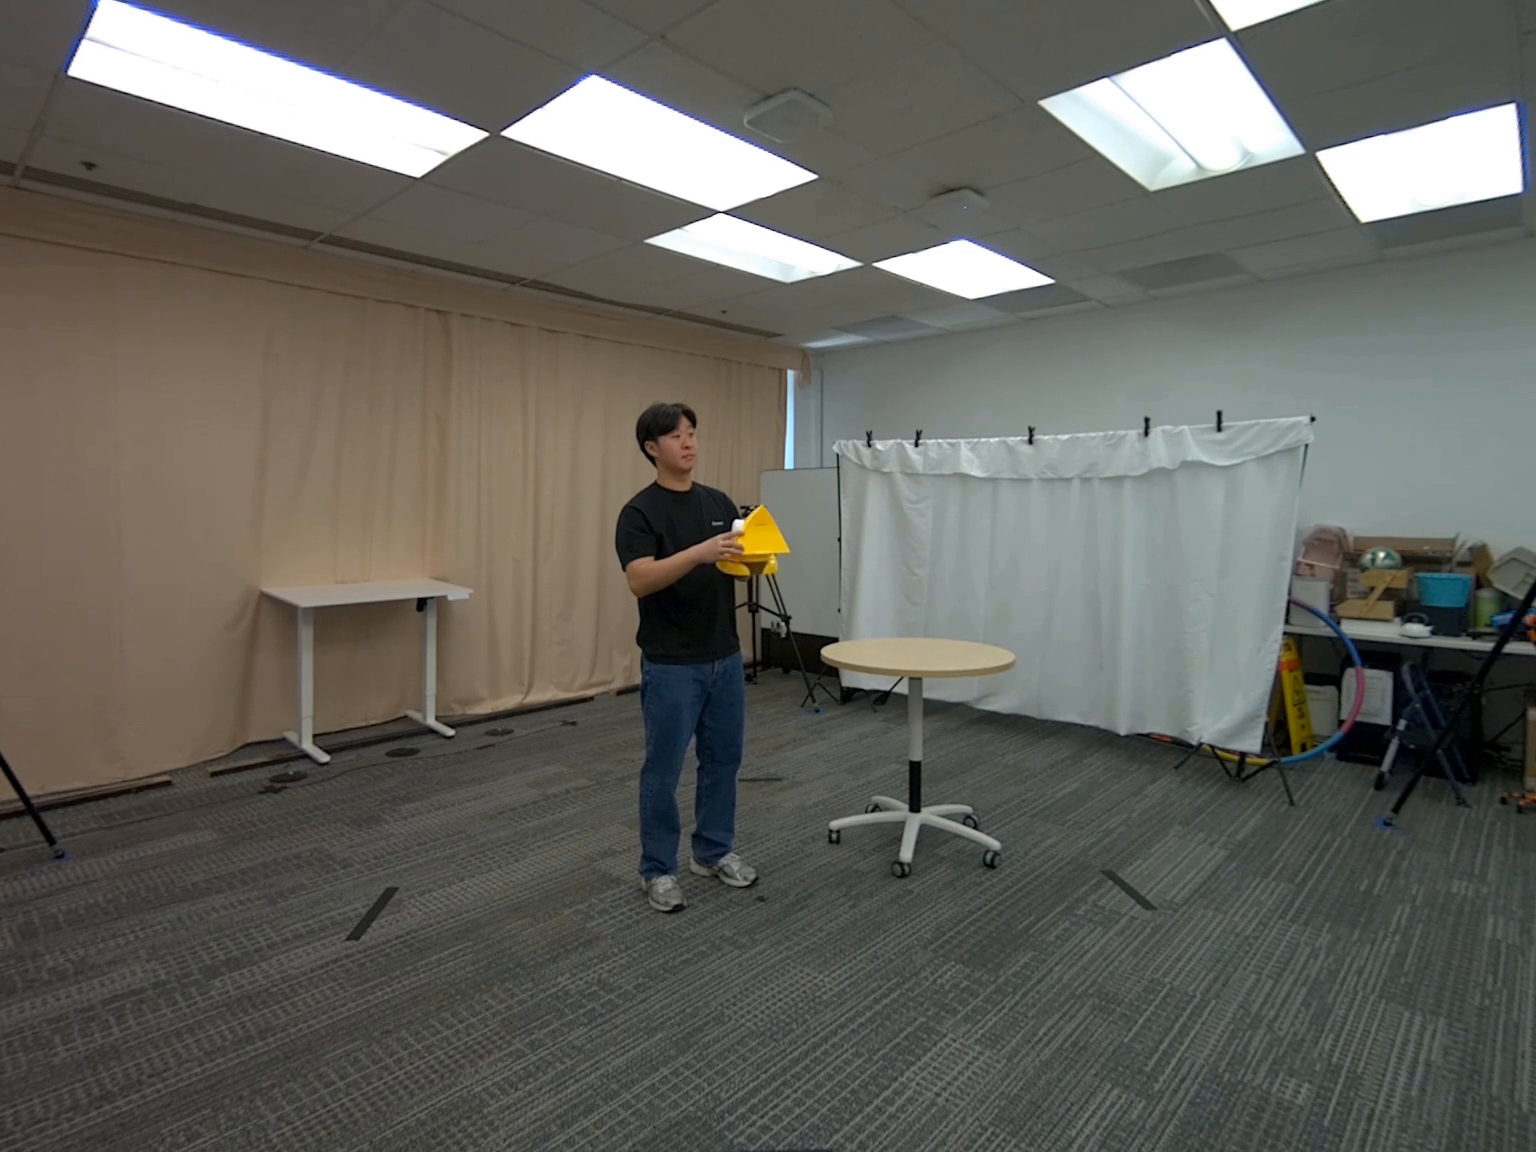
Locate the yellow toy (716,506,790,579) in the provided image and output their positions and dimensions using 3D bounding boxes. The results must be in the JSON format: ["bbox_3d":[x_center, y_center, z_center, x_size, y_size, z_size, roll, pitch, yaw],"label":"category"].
[{"bbox_3d":[-0.058,-0.133,2.764,0.200,0.229,0.199,-2,18,-23],"label":"yellow toy"}]
